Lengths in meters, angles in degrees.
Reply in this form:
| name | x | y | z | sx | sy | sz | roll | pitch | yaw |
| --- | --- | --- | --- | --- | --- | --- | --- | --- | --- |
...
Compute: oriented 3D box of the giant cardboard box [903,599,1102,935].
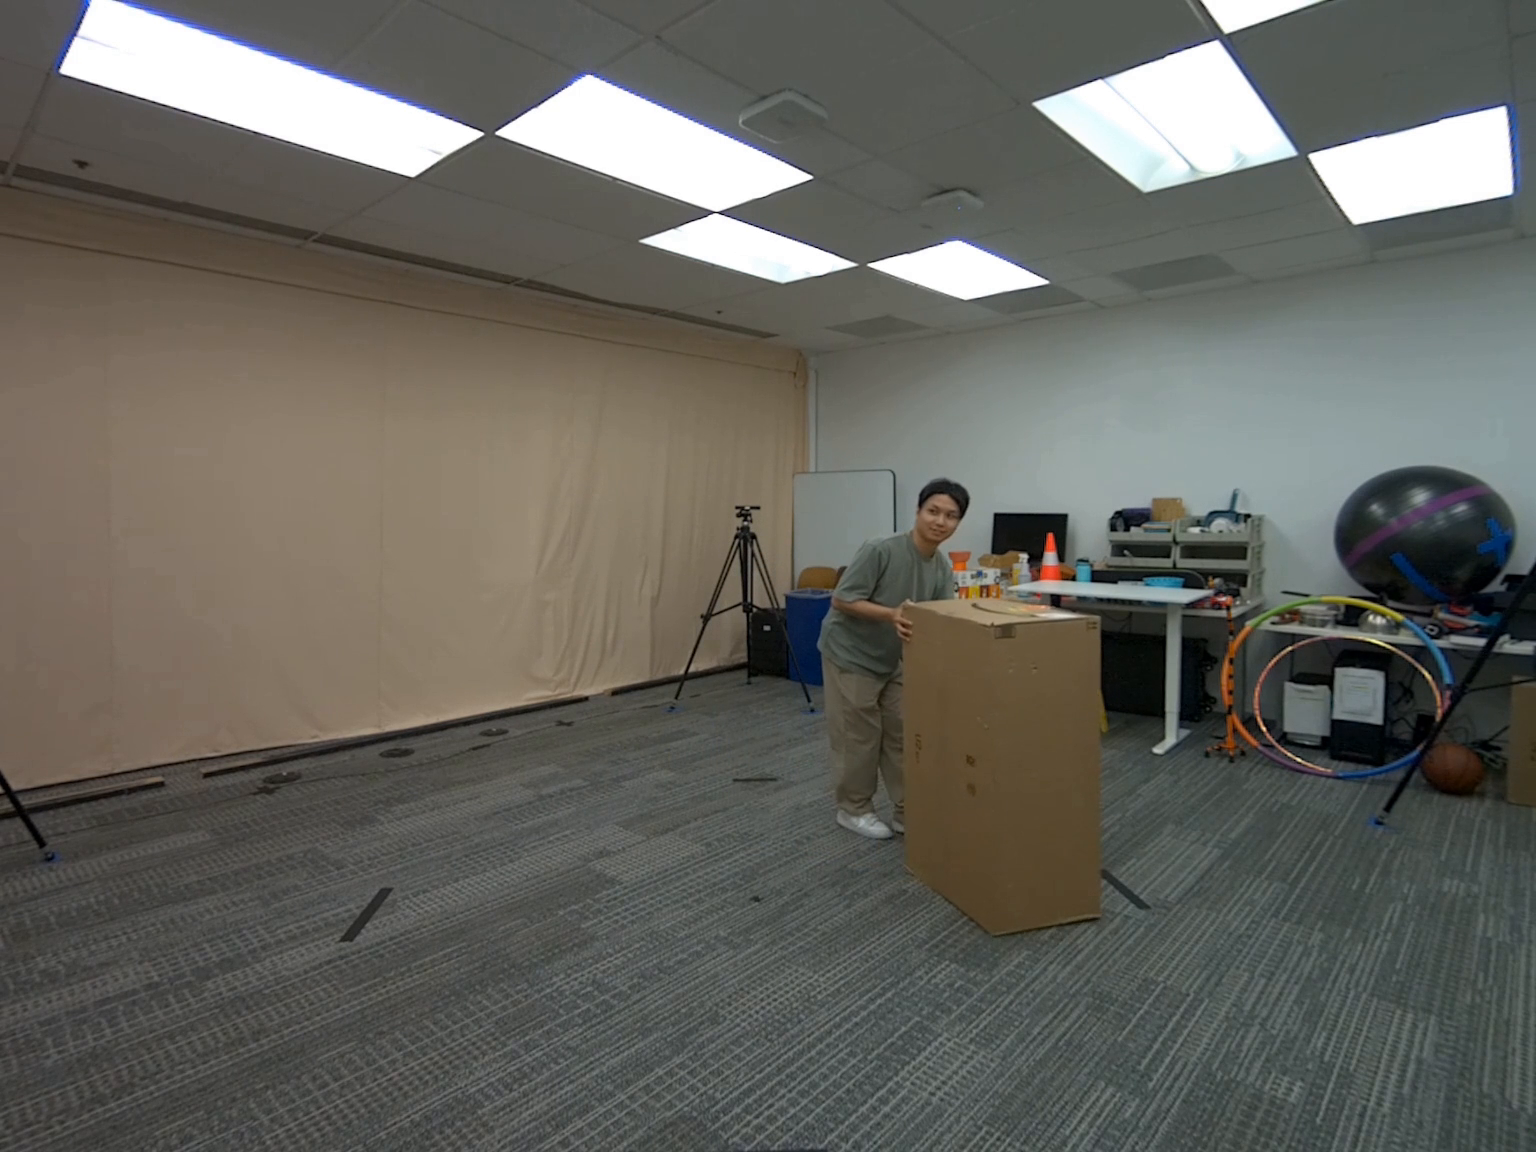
| name | x | y | z | sx | sy | sz | roll | pitch | yaw |
| --- | --- | --- | --- | --- | --- | --- | --- | --- | --- |
| giant cardboard box | 0.824 | 0.633 | 3.019 | 0.418 | 1.023 | 0.590 | -2 | 4 | -20 |
